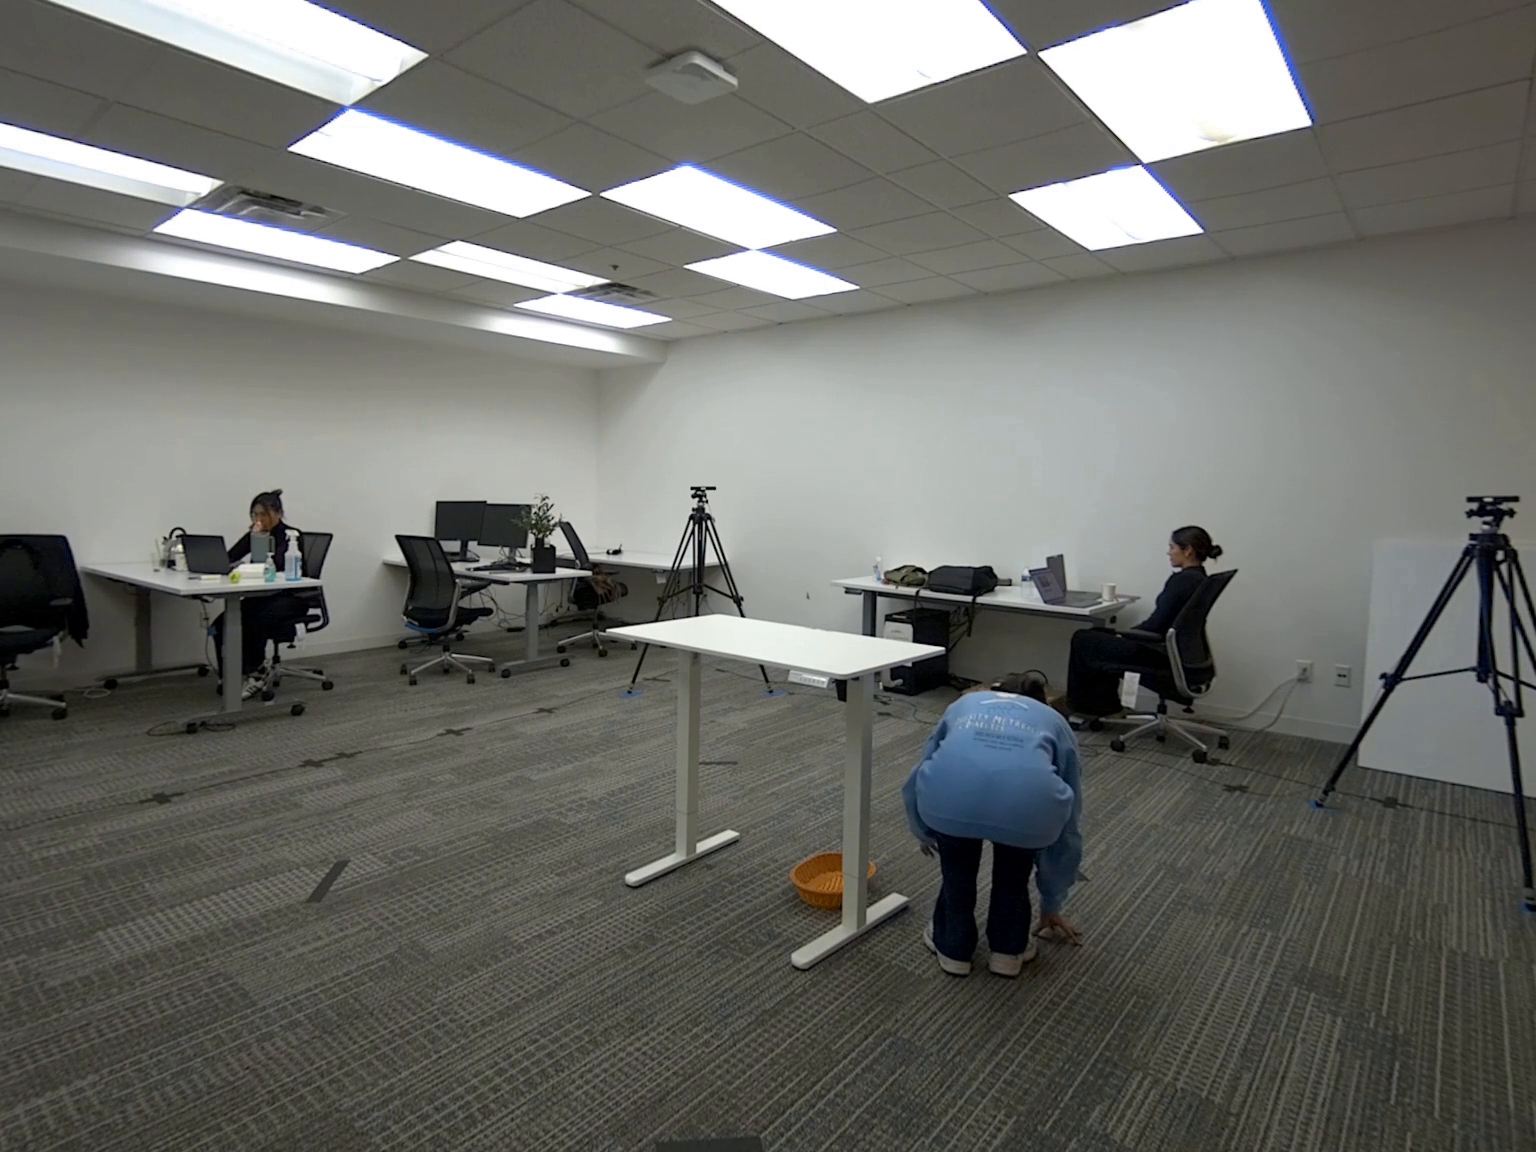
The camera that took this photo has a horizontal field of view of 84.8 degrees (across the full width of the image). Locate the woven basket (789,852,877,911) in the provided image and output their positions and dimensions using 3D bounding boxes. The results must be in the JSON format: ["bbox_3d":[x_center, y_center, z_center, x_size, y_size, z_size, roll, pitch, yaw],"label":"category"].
[{"bbox_3d":[0.219,1.048,2.947,0.260,0.073,0.341,3,6,35],"label":"woven basket"}]
